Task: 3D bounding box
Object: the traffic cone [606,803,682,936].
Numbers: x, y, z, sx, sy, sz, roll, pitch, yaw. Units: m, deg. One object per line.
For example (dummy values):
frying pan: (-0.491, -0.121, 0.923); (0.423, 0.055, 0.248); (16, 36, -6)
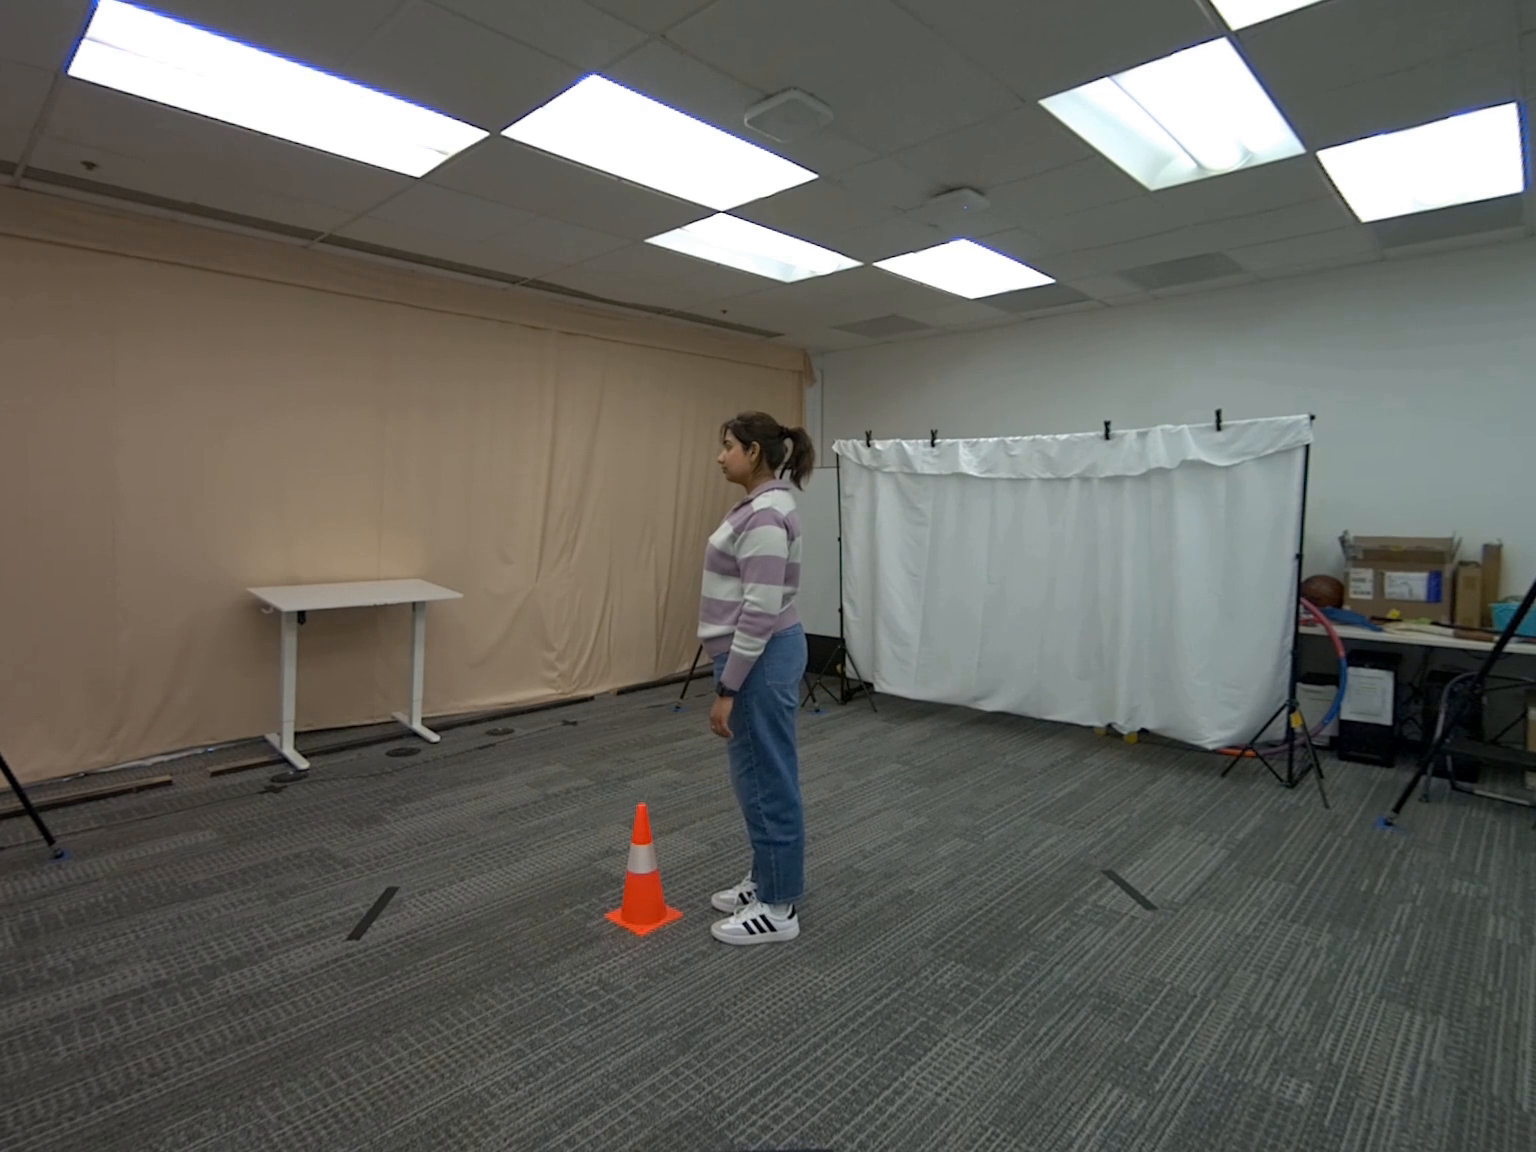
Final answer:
traffic cone: (-0.422, 0.975, 2.859); (0.210, 0.383, 0.199); (2, 3, 41)
